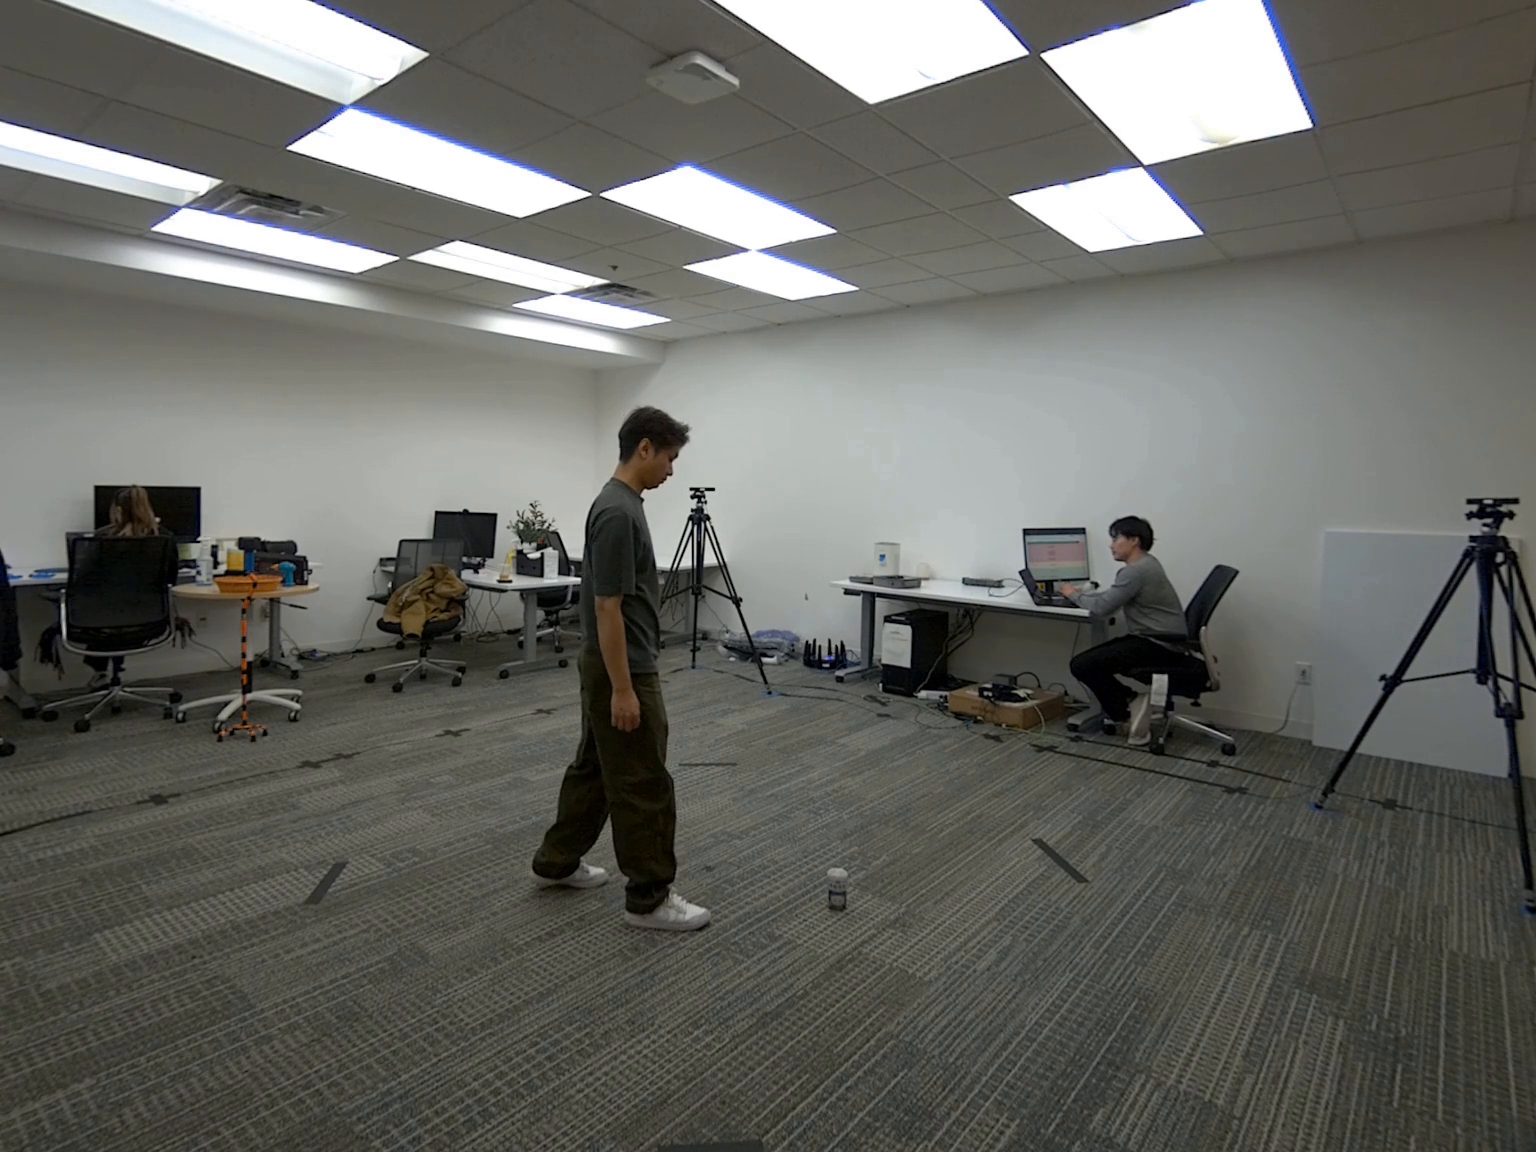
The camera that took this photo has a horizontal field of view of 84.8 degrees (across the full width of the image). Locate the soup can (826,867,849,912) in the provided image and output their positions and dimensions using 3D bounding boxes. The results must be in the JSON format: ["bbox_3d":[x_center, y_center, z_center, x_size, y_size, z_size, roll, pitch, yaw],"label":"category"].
[{"bbox_3d":[0.224,1.044,2.839,0.067,0.121,0.067,4,4,-2],"label":"soup can"}]
